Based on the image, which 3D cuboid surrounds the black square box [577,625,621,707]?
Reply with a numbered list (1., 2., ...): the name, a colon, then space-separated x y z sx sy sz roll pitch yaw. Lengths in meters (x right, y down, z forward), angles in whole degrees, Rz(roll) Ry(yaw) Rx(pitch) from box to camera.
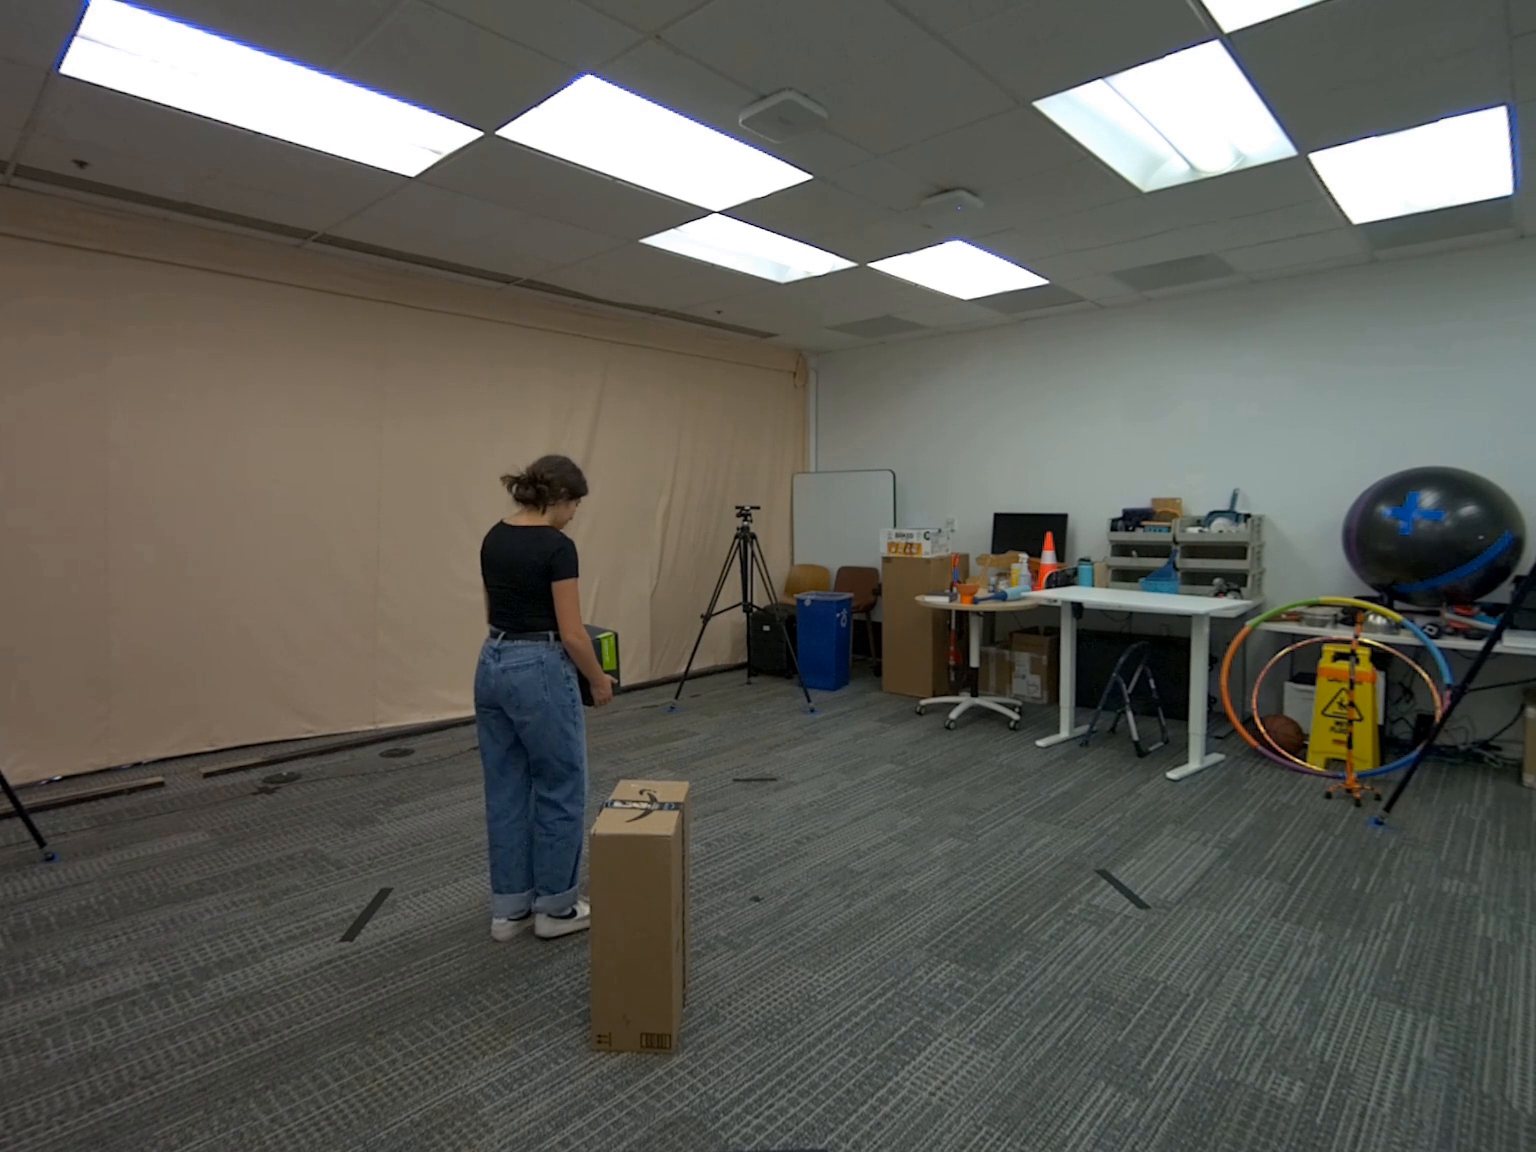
1. black square box: -0.646 0.304 2.933 0.224 0.226 0.152 8 11 34
